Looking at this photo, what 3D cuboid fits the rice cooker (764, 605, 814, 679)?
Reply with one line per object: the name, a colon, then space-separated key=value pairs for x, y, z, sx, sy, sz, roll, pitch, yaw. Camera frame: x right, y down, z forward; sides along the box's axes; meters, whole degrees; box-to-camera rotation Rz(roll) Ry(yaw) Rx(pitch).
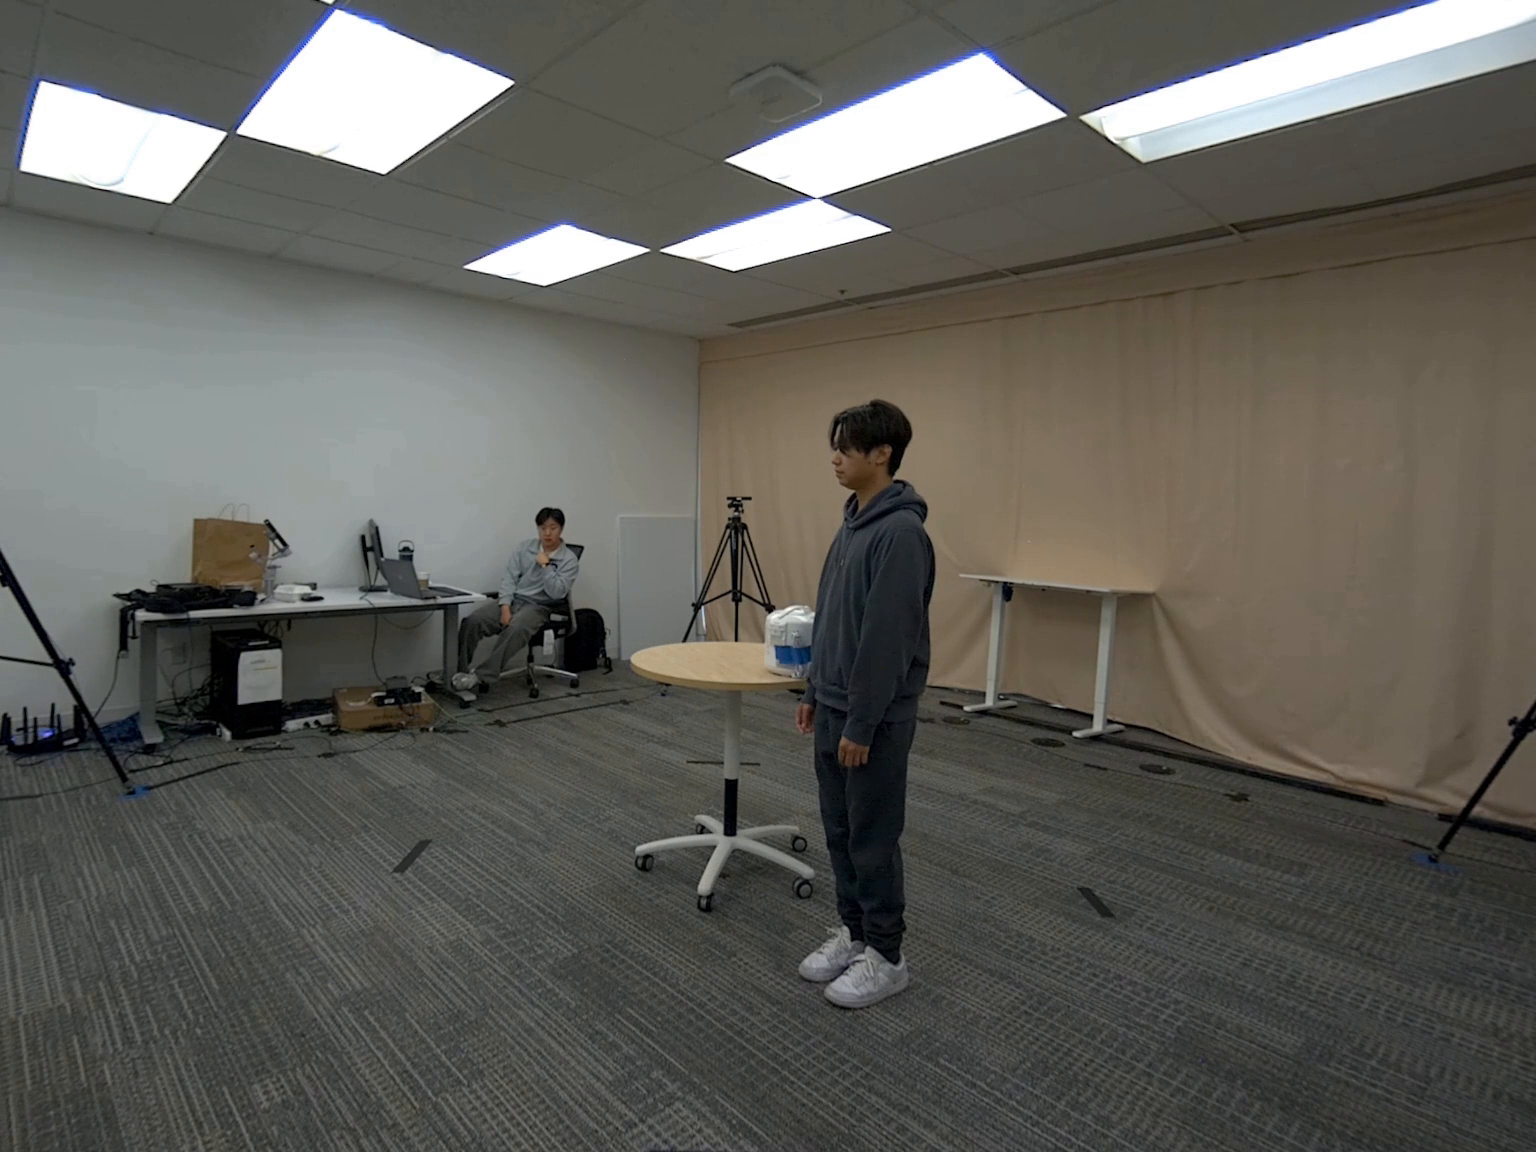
rice cooker: x=0.086 y=0.219 z=2.902 sx=0.223 sy=0.232 sz=0.215 roll=8 pitch=7 yaw=40
